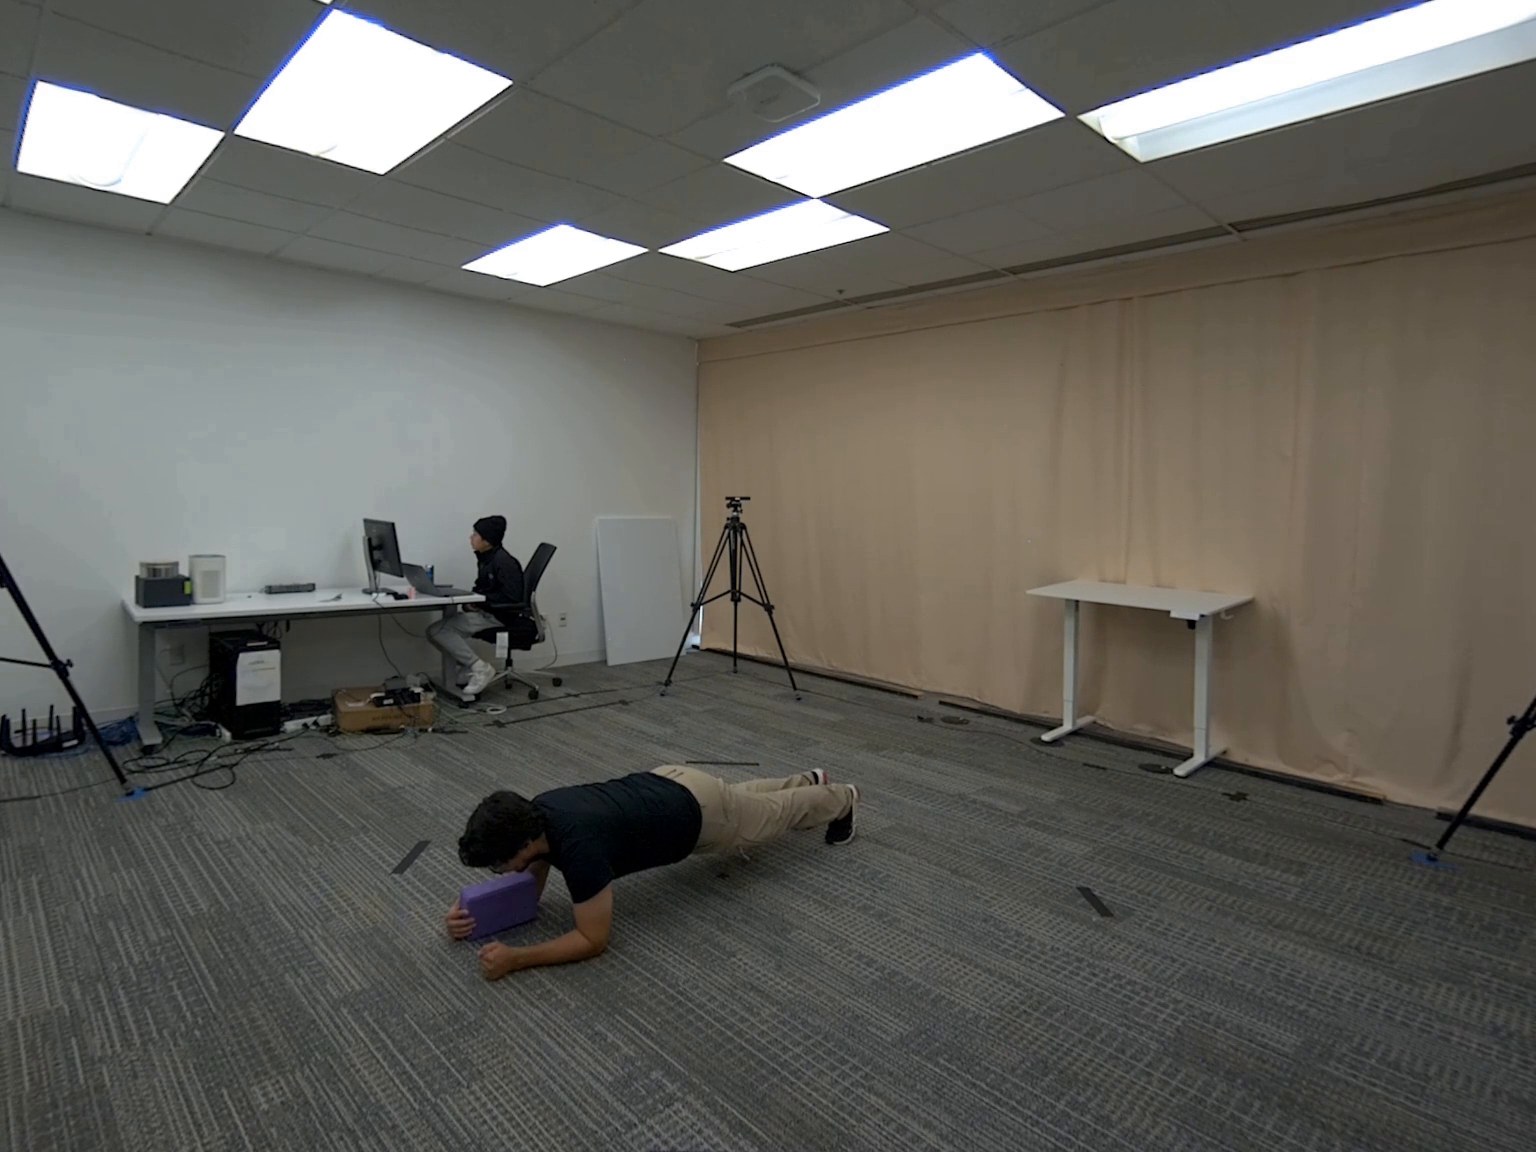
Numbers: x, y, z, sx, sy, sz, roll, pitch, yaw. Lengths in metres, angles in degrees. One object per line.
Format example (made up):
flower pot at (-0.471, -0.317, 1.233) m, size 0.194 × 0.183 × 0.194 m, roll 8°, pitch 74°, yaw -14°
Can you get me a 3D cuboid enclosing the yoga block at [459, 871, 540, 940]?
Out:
yoga block at (-0.867, 1.044, 2.691) m, size 0.225 × 0.148 × 0.078 m, roll -7°, pitch 13°, yaw -37°
